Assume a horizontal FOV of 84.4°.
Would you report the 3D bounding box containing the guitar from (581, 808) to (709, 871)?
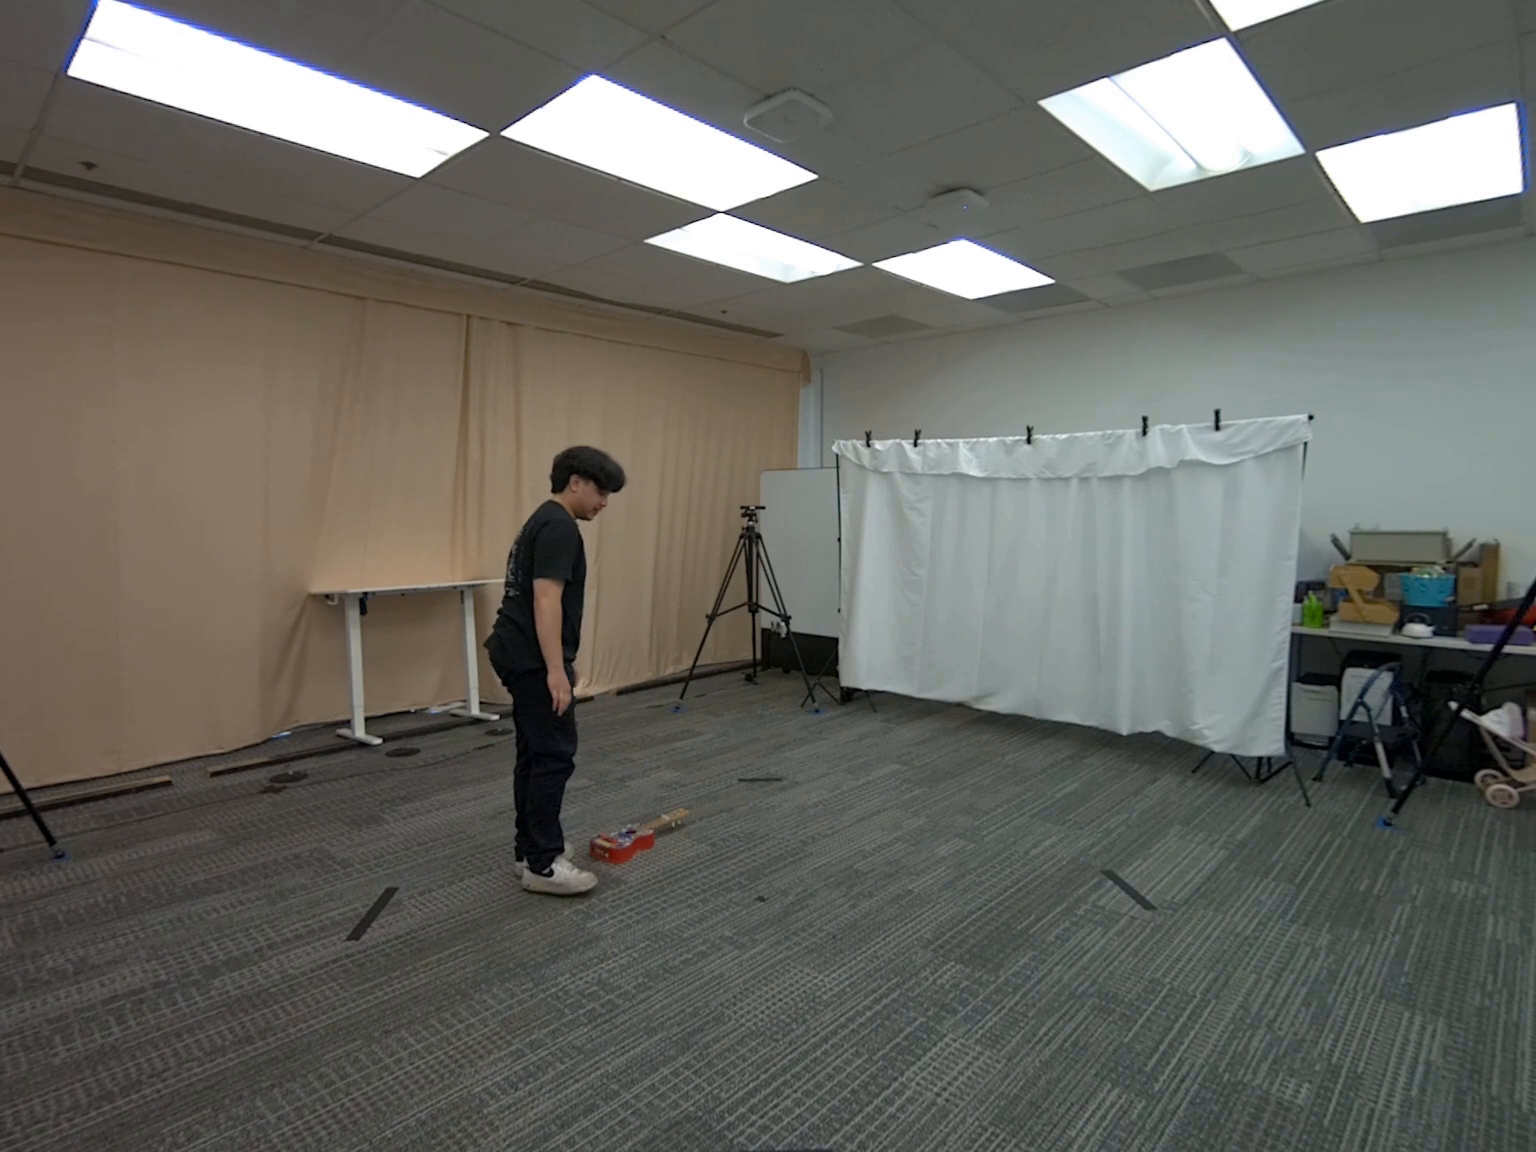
[{"bbox_3d":[-0.501,1.072,3.480,0.483,0.070,0.199,-6,6,-40],"label":"guitar"}]
